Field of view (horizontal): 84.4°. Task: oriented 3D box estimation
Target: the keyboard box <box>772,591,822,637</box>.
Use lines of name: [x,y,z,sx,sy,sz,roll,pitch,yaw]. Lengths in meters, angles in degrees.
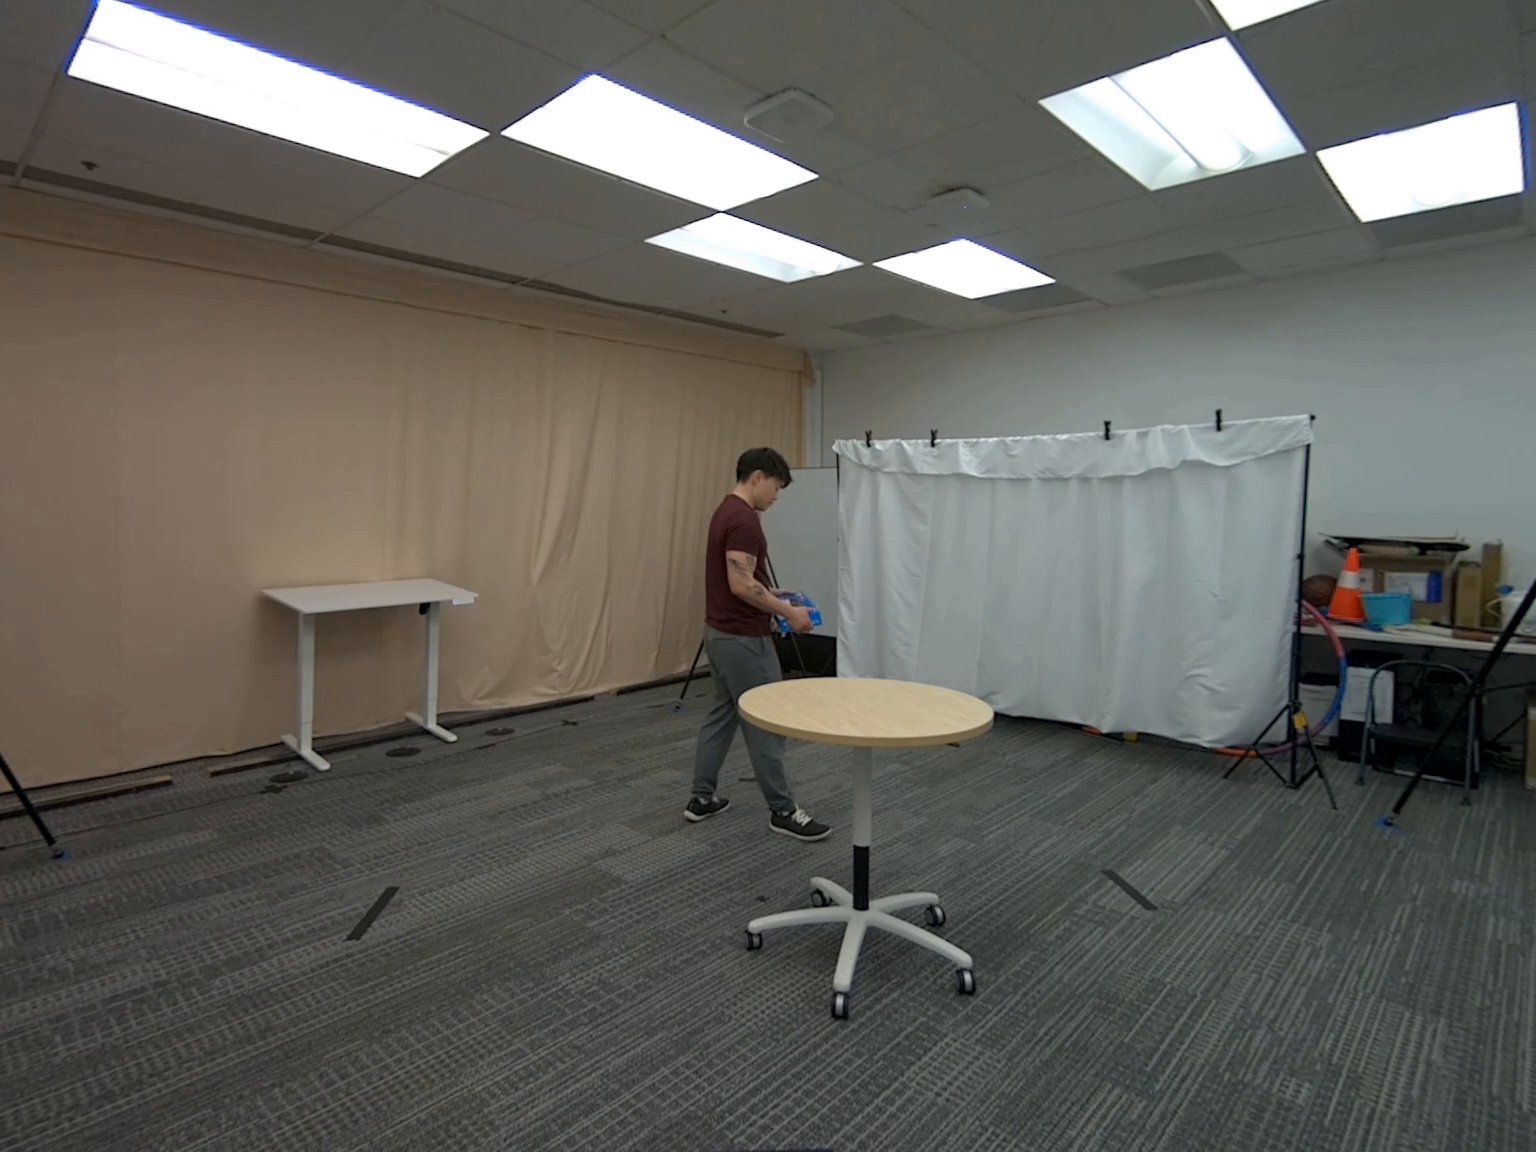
keyboard box: [0.110,0.151,3.713,0.175,0.058,0.443,-12,13,-7]
